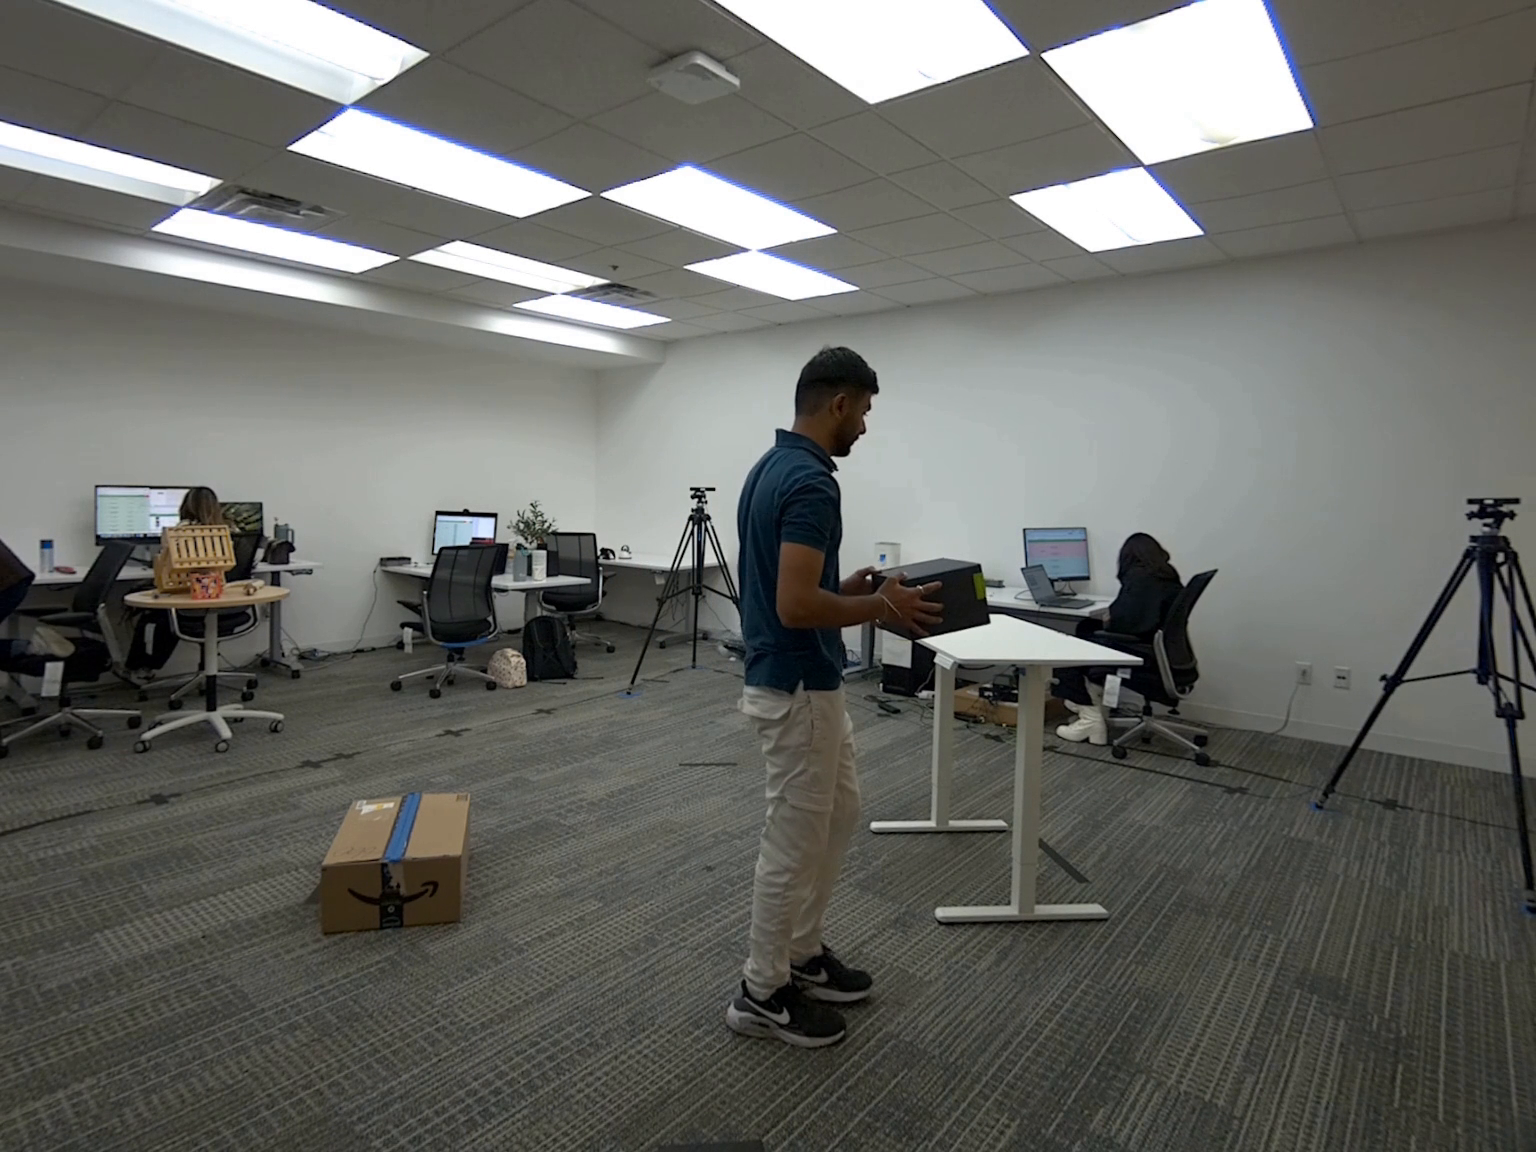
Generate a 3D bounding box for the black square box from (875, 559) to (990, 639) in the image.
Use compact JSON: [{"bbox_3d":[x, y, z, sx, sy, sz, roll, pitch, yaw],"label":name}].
[{"bbox_3d":[0.418,0.053,2.212,0.215,0.155,0.231,-9,6,-12],"label":"black square box"}]
